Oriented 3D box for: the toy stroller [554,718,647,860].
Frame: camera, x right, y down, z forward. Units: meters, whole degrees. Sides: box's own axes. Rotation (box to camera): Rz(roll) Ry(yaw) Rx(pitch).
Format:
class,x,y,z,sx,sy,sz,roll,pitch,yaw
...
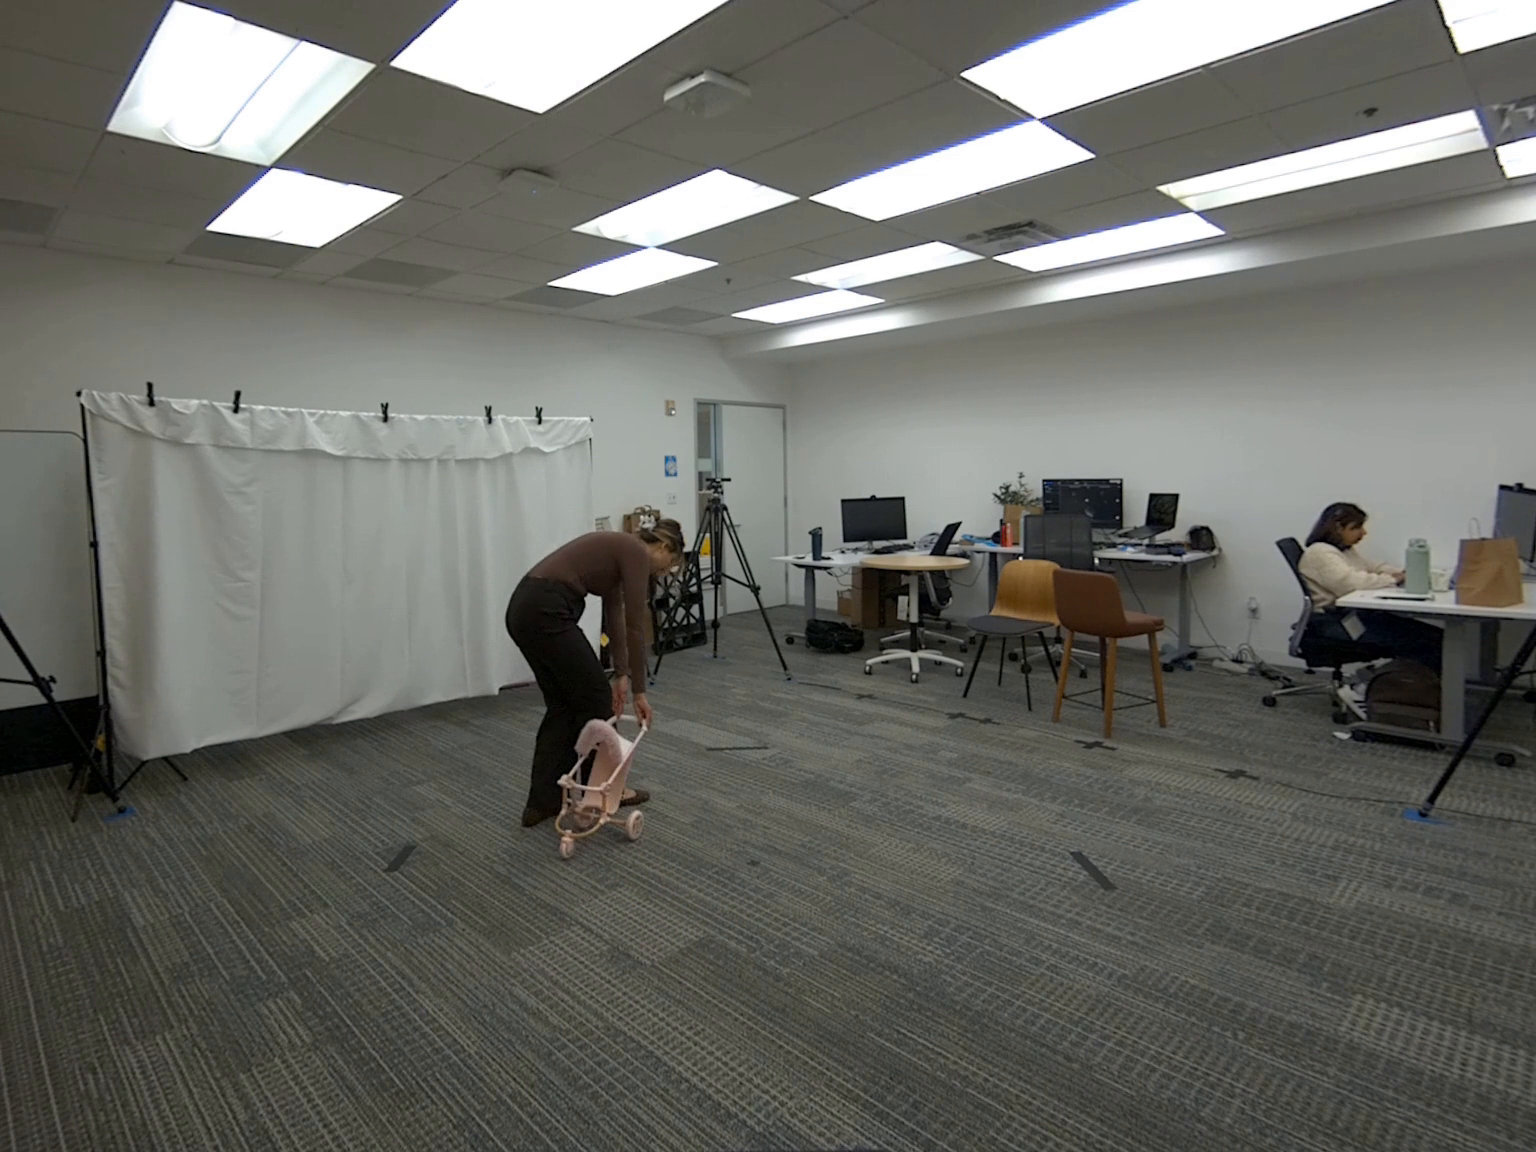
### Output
class,x,y,z,sx,sy,sz,roll,pitch,yaw
toy stroller,-0.662,0.803,3.326,0.289,0.540,0.329,0,-13,32
